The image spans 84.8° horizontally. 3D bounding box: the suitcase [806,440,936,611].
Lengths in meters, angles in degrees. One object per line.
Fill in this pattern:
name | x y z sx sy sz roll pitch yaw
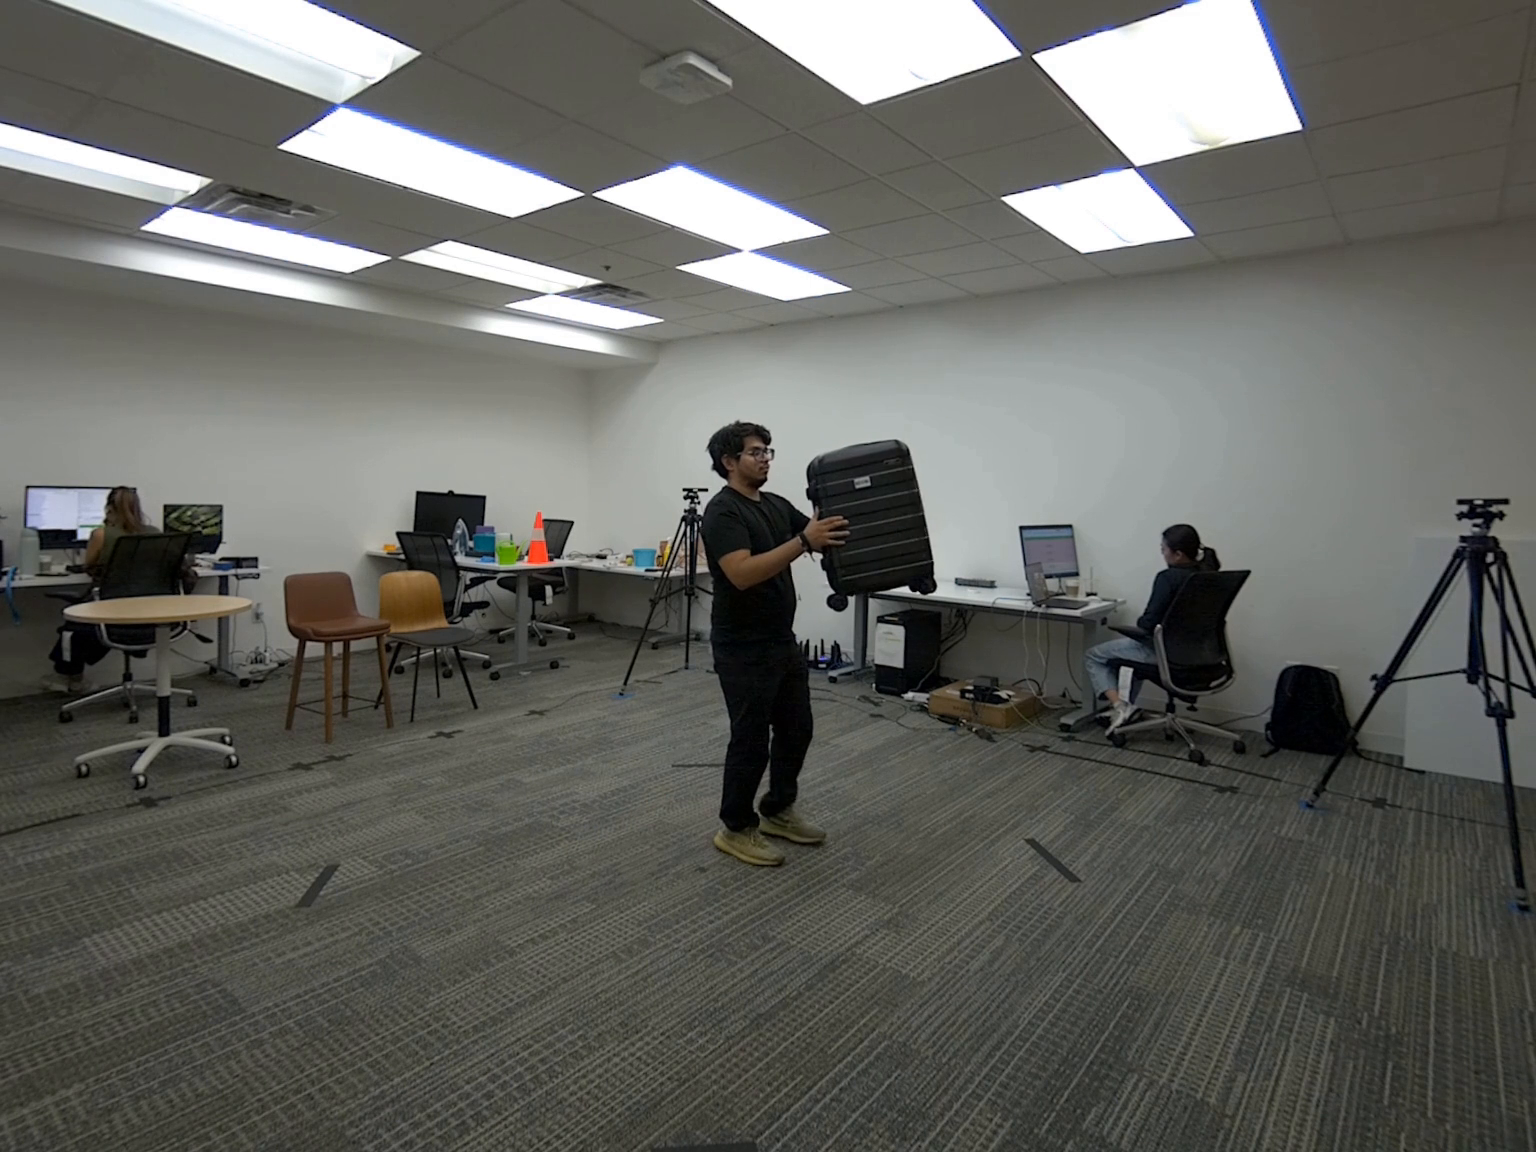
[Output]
suitcase | 0.349 -0.192 2.960 0.377 0.551 0.247 -10 -2 4
